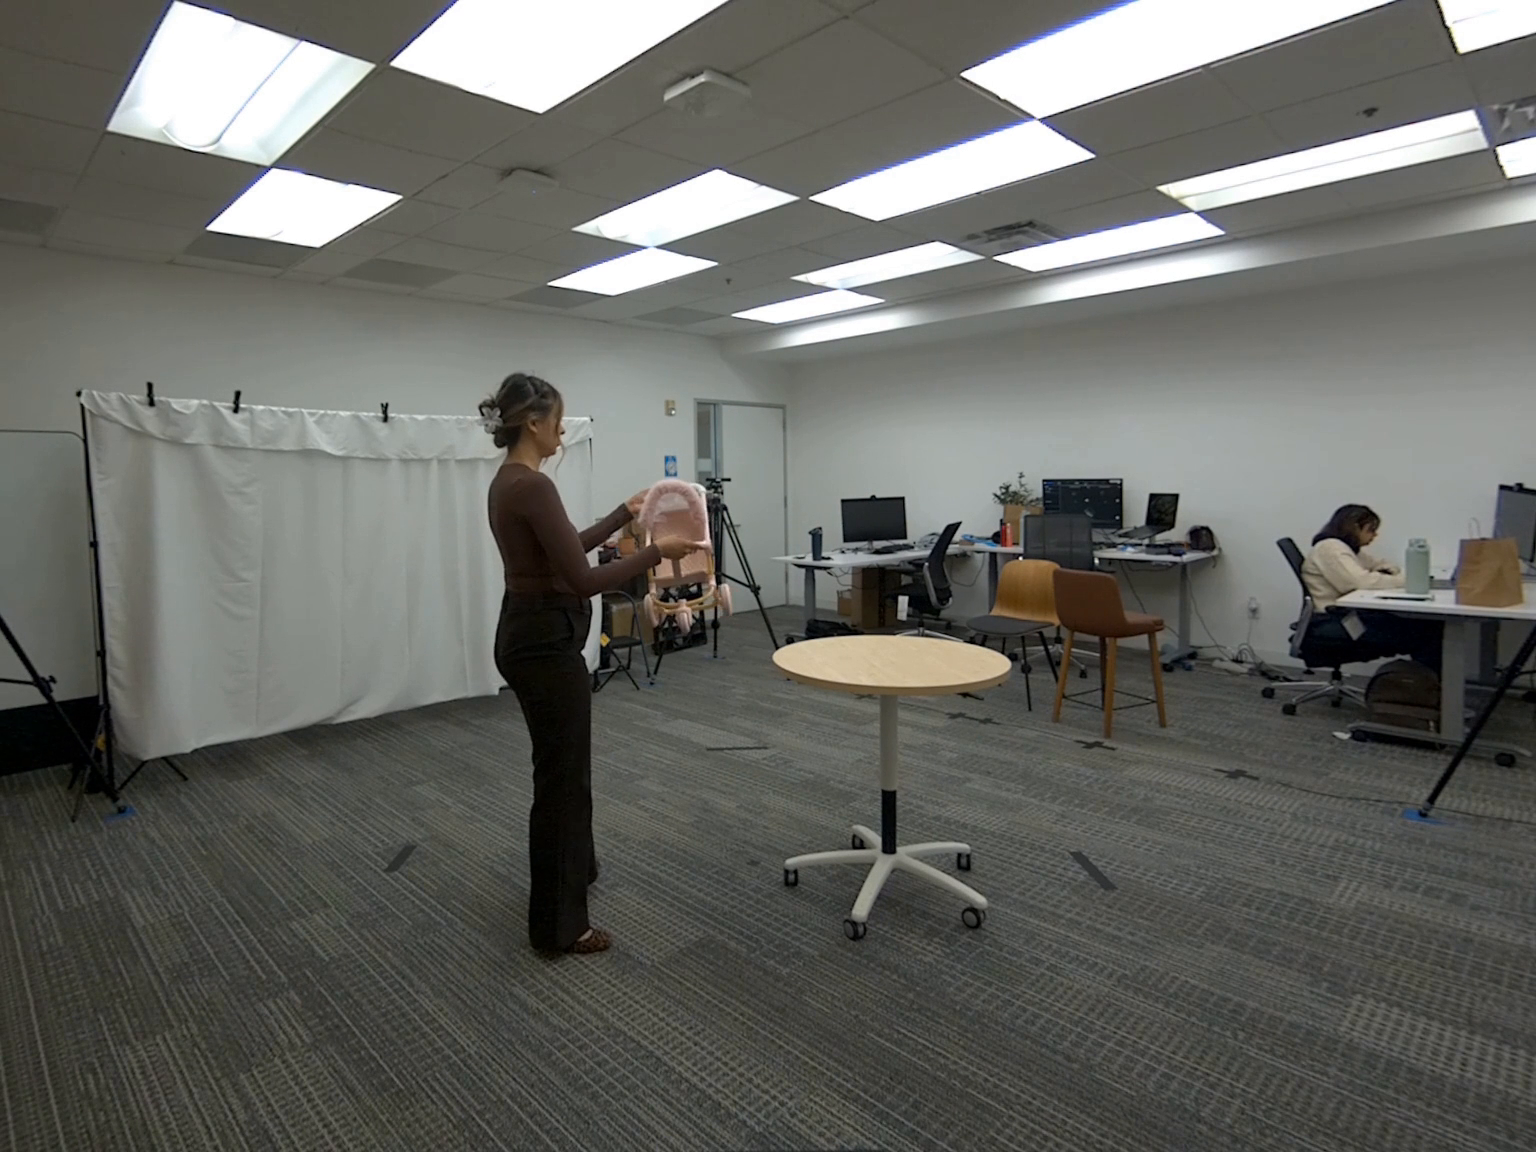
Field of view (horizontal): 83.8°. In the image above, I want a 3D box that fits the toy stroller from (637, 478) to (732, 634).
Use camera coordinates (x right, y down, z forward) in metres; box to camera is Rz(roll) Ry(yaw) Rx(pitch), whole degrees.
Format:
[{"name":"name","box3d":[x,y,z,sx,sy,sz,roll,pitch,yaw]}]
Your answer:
[{"name":"toy stroller","box3d":[-0.286,-0.071,2.736,0.282,0.542,0.336,-7,-12,3]}]
